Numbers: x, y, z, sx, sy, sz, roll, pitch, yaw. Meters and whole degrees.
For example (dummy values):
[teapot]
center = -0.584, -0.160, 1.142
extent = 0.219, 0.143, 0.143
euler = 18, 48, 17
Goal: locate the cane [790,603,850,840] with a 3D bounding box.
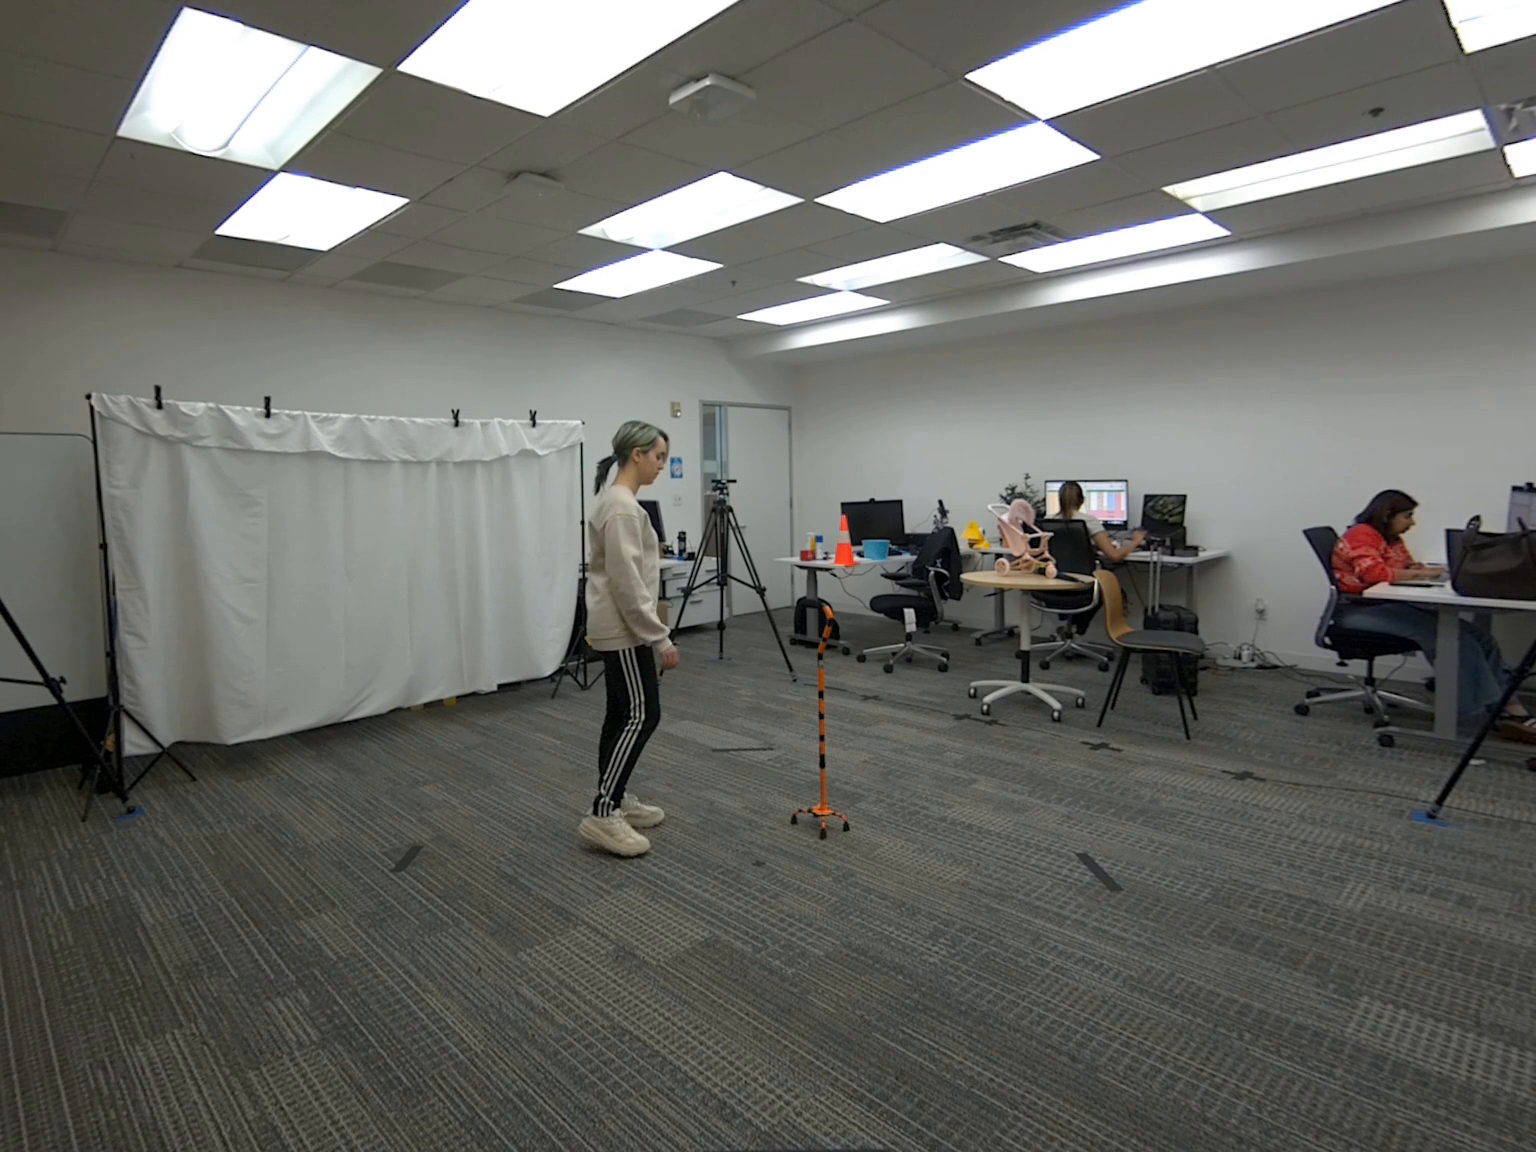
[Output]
[cane]
center = 0.210, 0.557, 3.403
extent = 0.148, 0.905, 0.212
euler = -3, 5, -37
